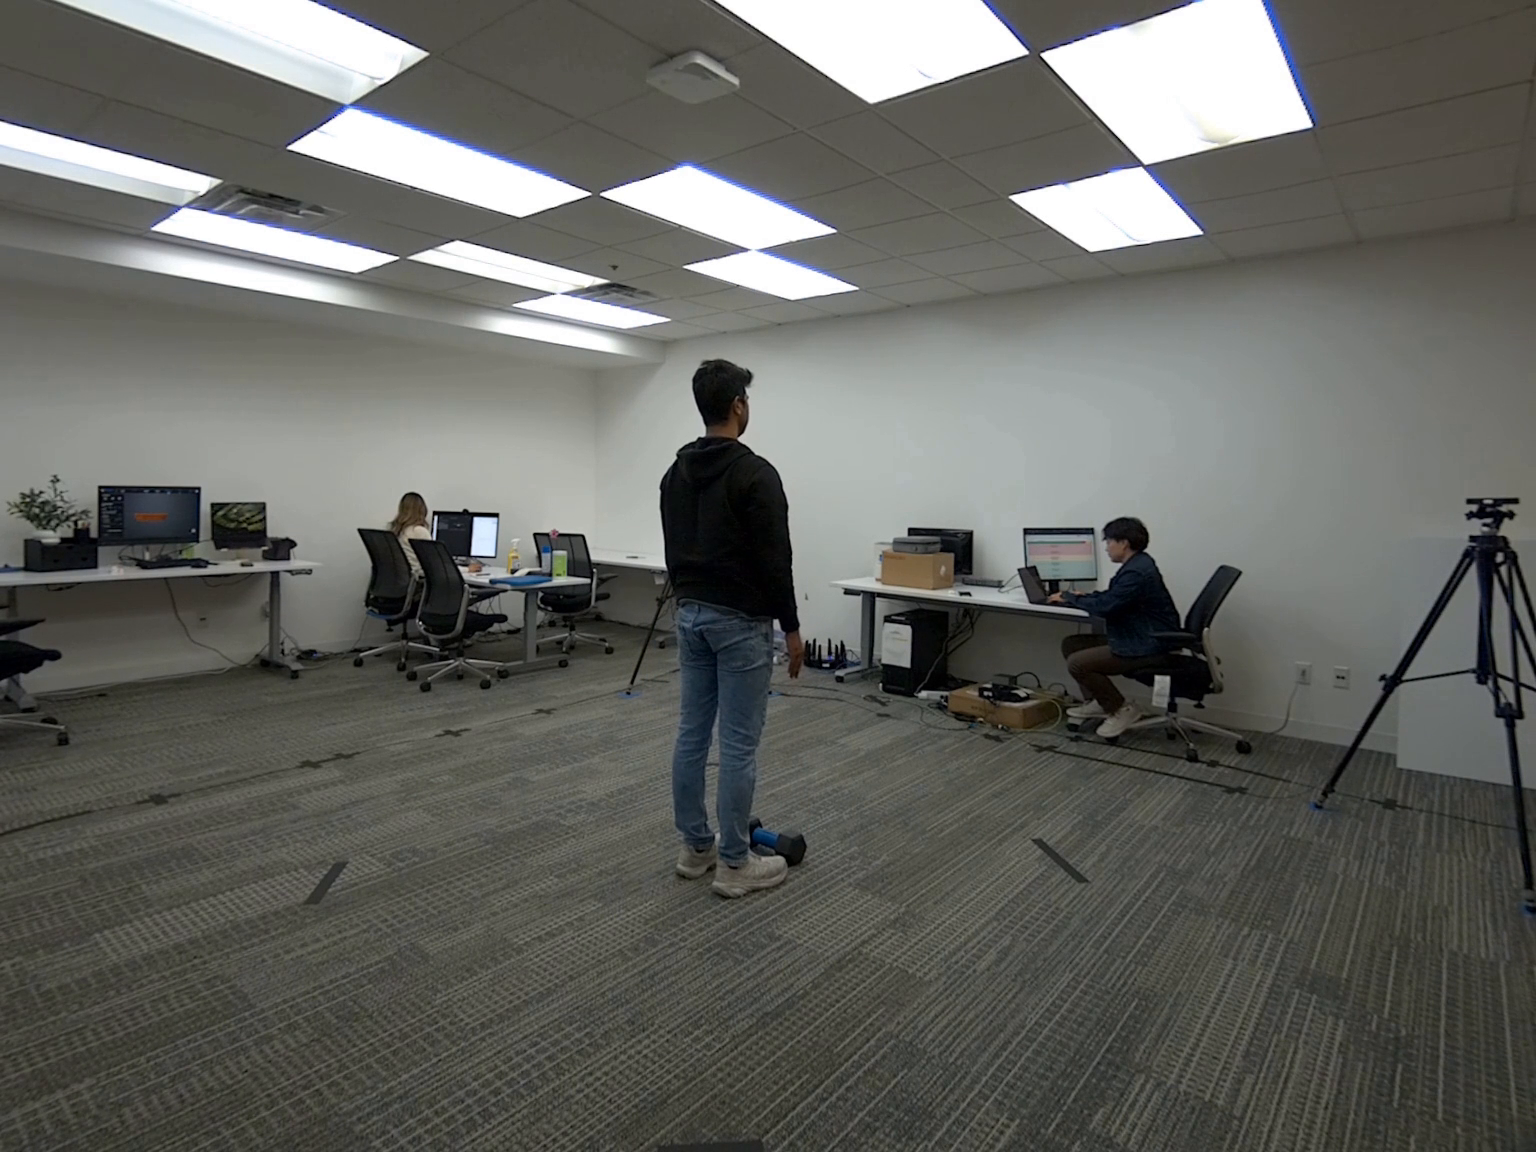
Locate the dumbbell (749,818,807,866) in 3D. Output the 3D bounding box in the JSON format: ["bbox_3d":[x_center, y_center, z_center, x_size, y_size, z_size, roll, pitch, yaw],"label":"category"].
[{"bbox_3d":[-0.008,1.001,3.248,0.303,0.124,0.104,6,-26,41],"label":"dumbbell"}]
